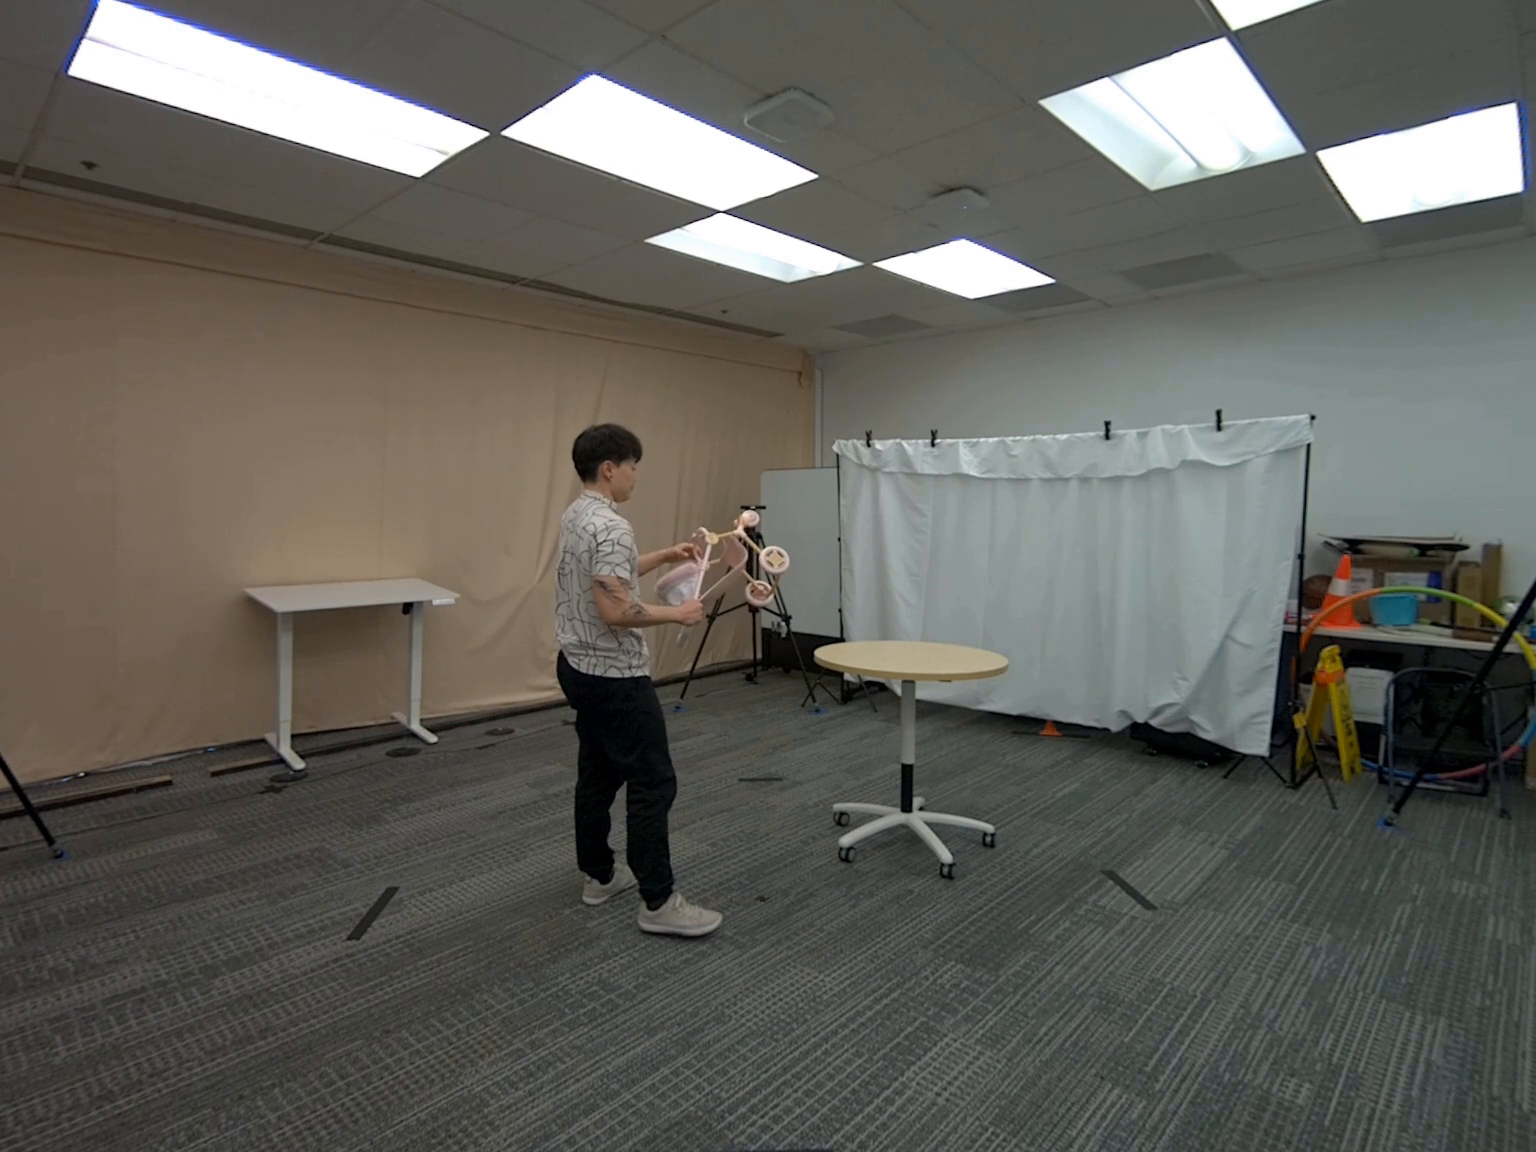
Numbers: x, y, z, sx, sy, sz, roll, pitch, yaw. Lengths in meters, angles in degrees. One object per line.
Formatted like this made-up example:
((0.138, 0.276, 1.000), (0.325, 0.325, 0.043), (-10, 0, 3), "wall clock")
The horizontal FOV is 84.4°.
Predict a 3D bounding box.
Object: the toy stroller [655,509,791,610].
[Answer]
((-0.178, -0.012, 3.022), (0.527, 0.347, 0.281), (-26, -17, -24), "toy stroller")
